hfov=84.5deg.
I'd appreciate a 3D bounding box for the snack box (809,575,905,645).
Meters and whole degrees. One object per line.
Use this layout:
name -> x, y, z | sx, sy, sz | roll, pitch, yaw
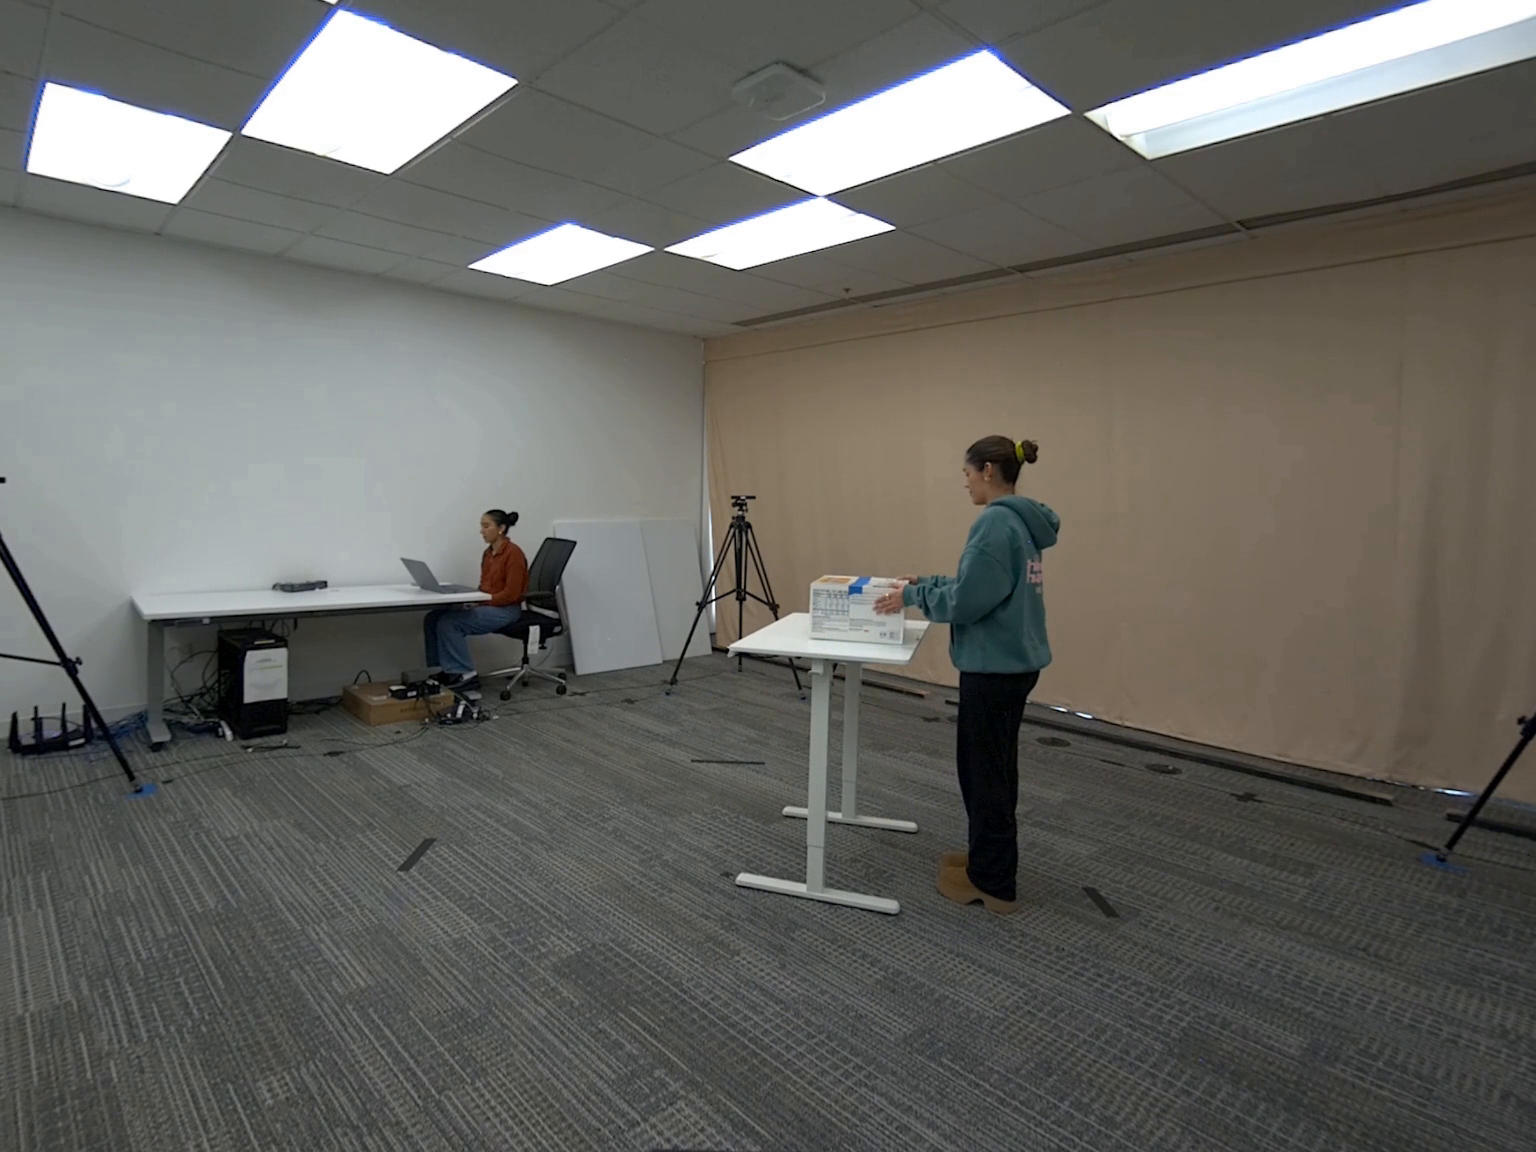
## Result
snack box -> 0.351, 0.122, 3.209 | 0.344, 0.205, 0.401 | 3, 4, 13
